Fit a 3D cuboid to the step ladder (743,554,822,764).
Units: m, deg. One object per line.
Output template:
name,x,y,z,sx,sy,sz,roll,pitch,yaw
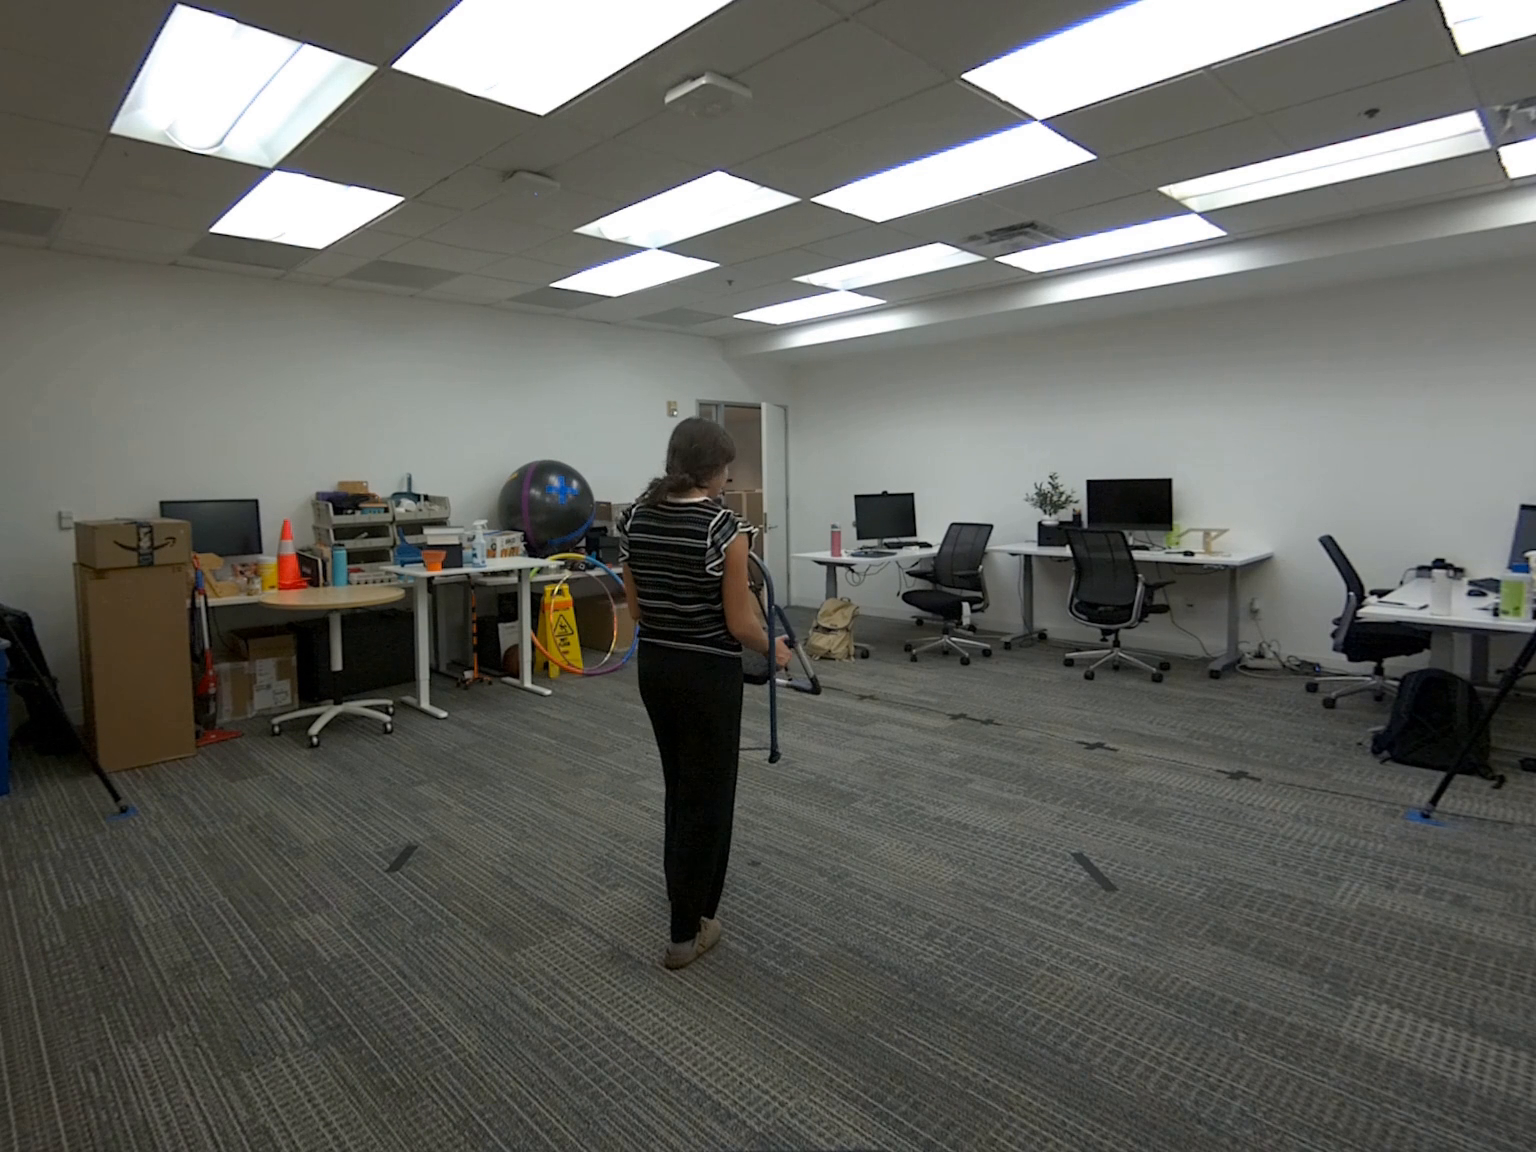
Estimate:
step ladder,-0.128,0.195,2.700,0.443,0.590,0.349,5,32,31
